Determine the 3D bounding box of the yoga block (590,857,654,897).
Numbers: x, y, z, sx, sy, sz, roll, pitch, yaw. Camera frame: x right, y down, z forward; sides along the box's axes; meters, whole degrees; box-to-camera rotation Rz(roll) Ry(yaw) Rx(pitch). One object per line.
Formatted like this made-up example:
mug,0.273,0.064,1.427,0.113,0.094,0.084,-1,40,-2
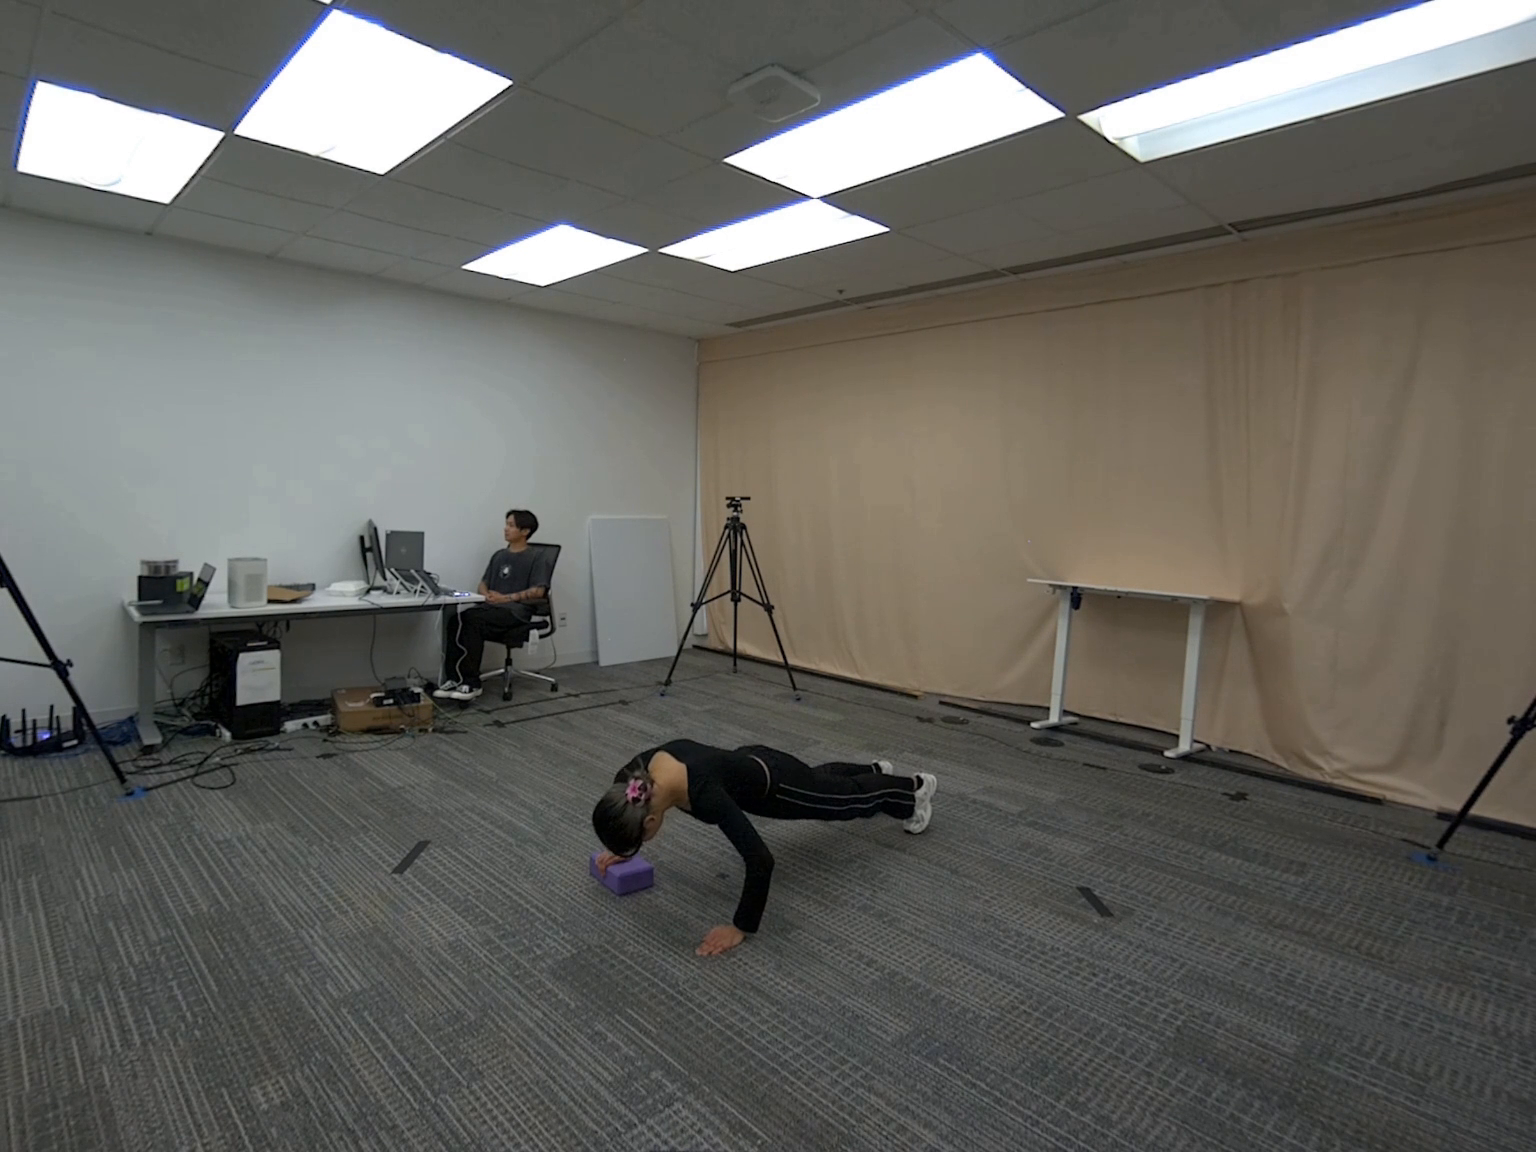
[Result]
yoga block,-0.538,1.066,3.050,0.146,0.076,0.235,-3,5,-38
